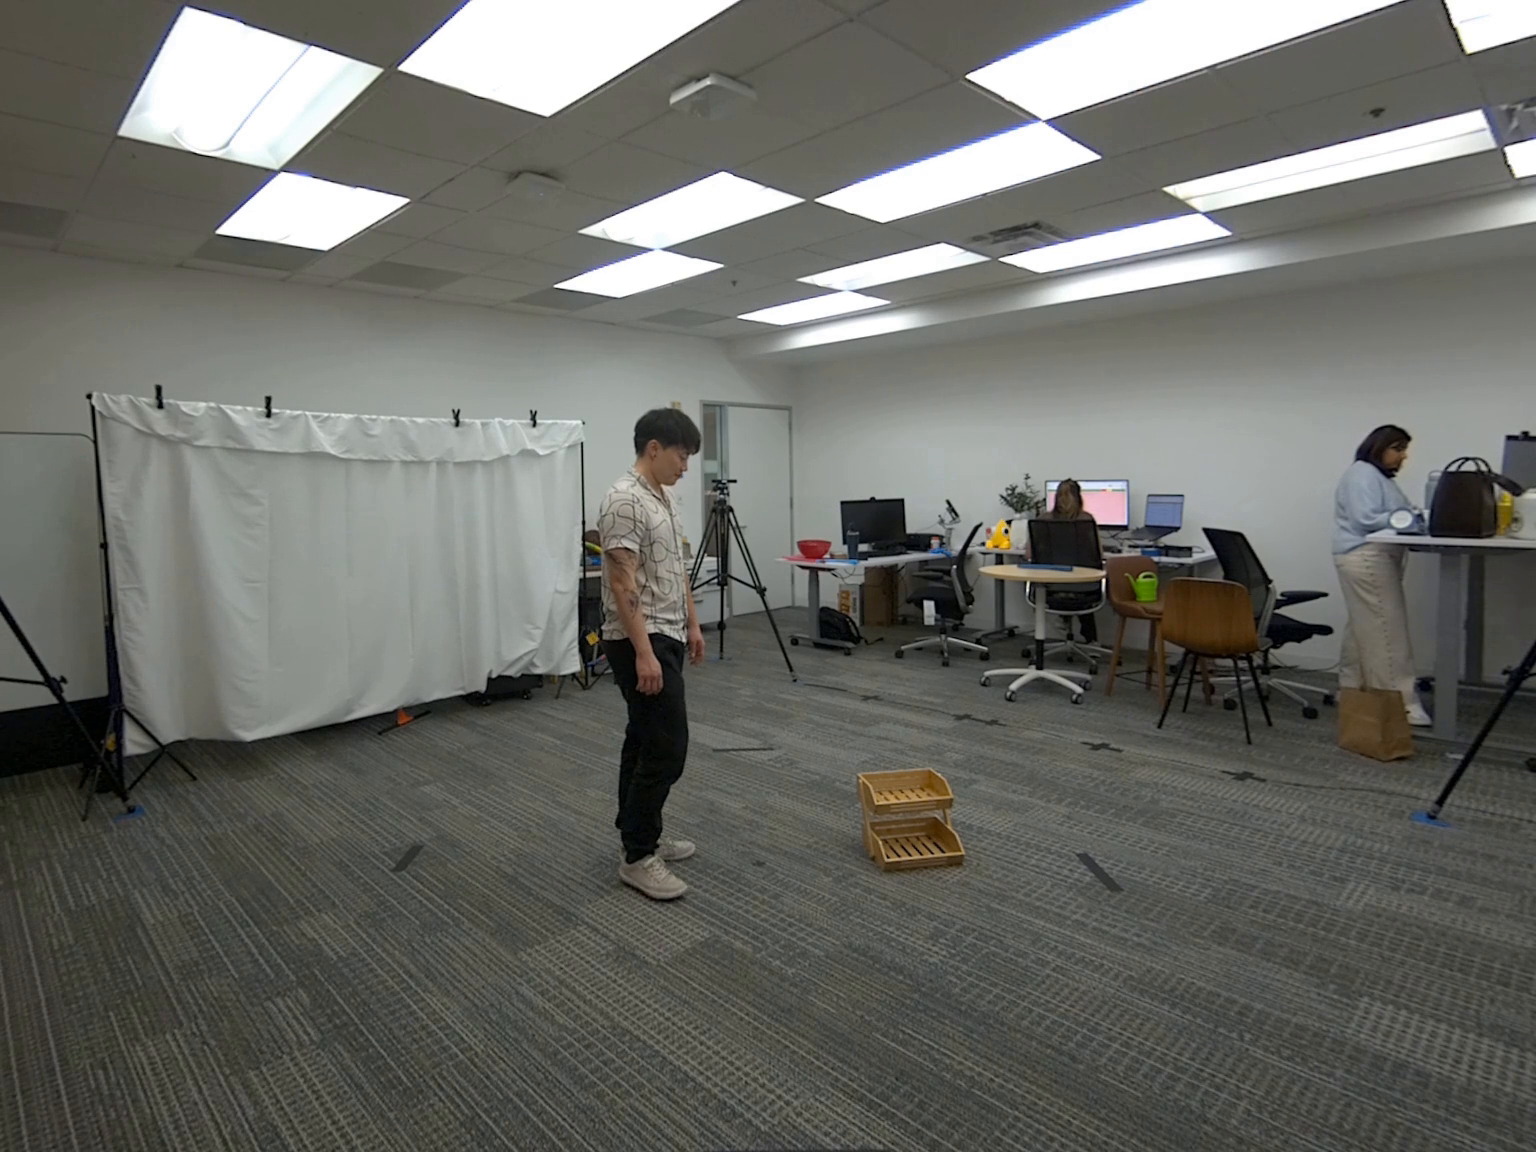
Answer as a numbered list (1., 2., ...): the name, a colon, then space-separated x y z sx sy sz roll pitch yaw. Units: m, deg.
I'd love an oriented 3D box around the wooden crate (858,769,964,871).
1. wooden crate: 0.534 0.896 3.166 0.321 0.272 0.306 -2 5 -12
